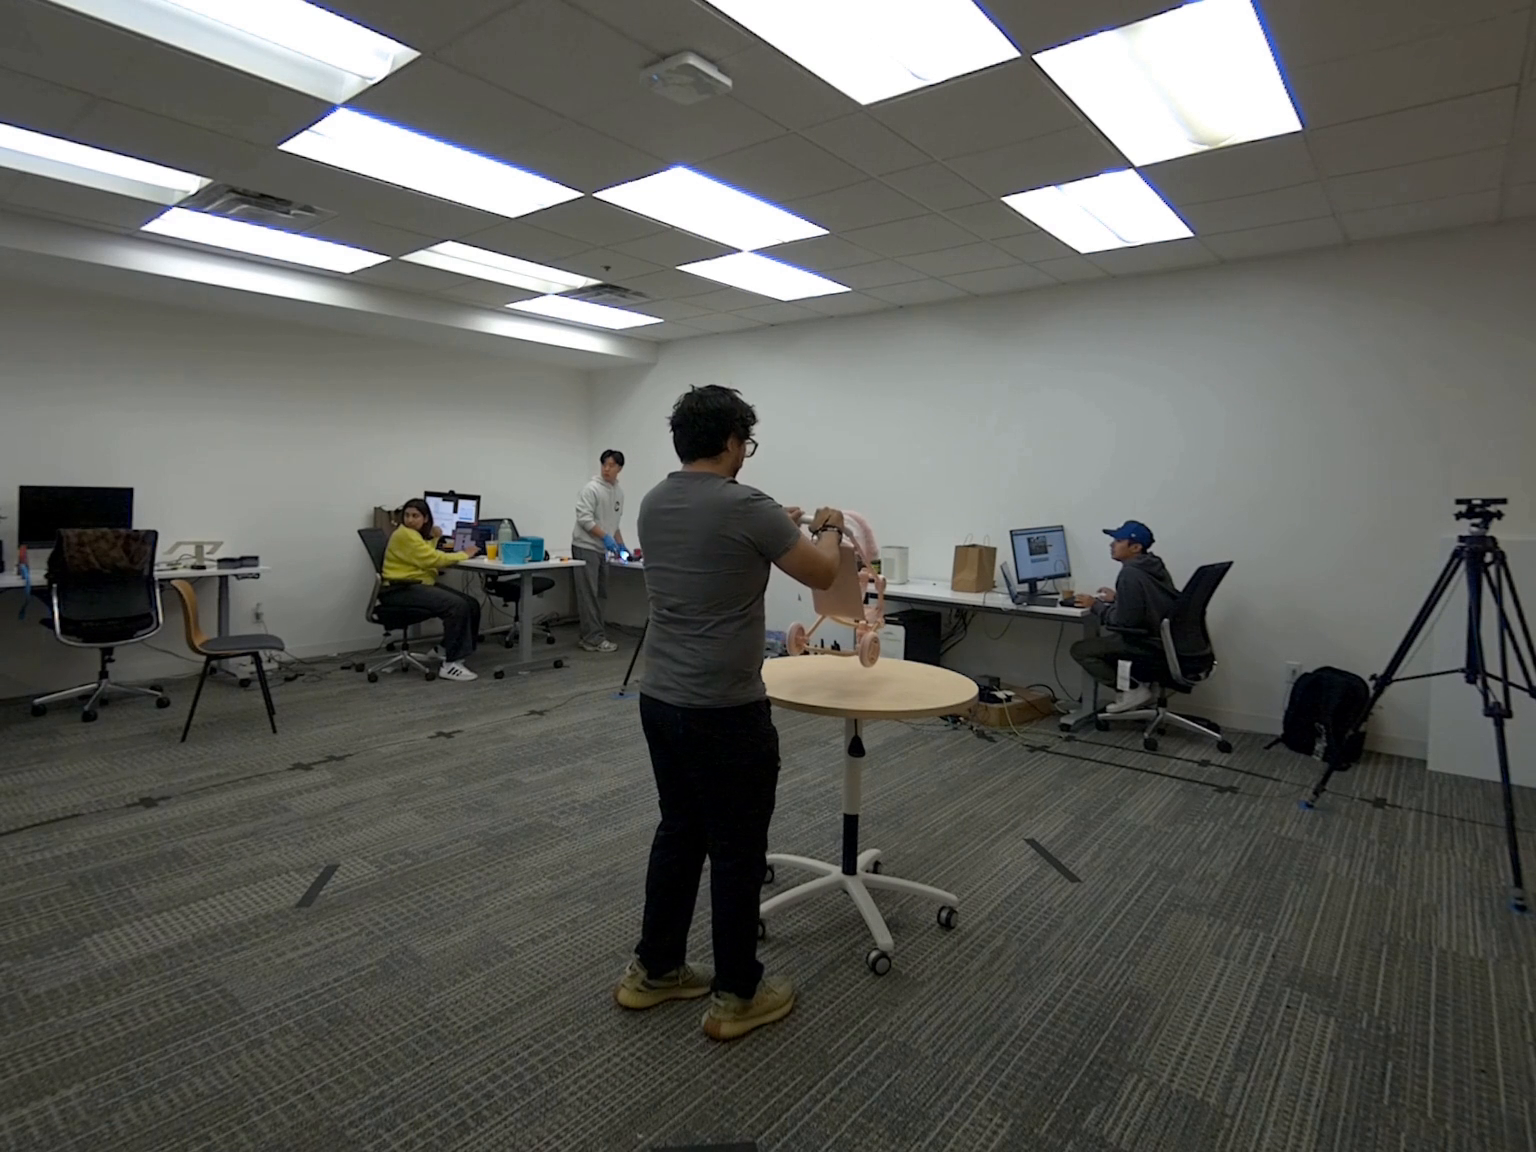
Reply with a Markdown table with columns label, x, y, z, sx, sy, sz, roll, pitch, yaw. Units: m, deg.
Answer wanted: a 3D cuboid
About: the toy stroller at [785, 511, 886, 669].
| label | x | y | z | sx | sy | sz | roll | pitch | yaw |
| --- | --- | --- | --- | --- | --- | --- | --- | --- | --- |
| toy stroller | 0.233 | 0.035 | 2.683 | 0.291 | 0.527 | 0.335 | 5 | 17 | 35 |
